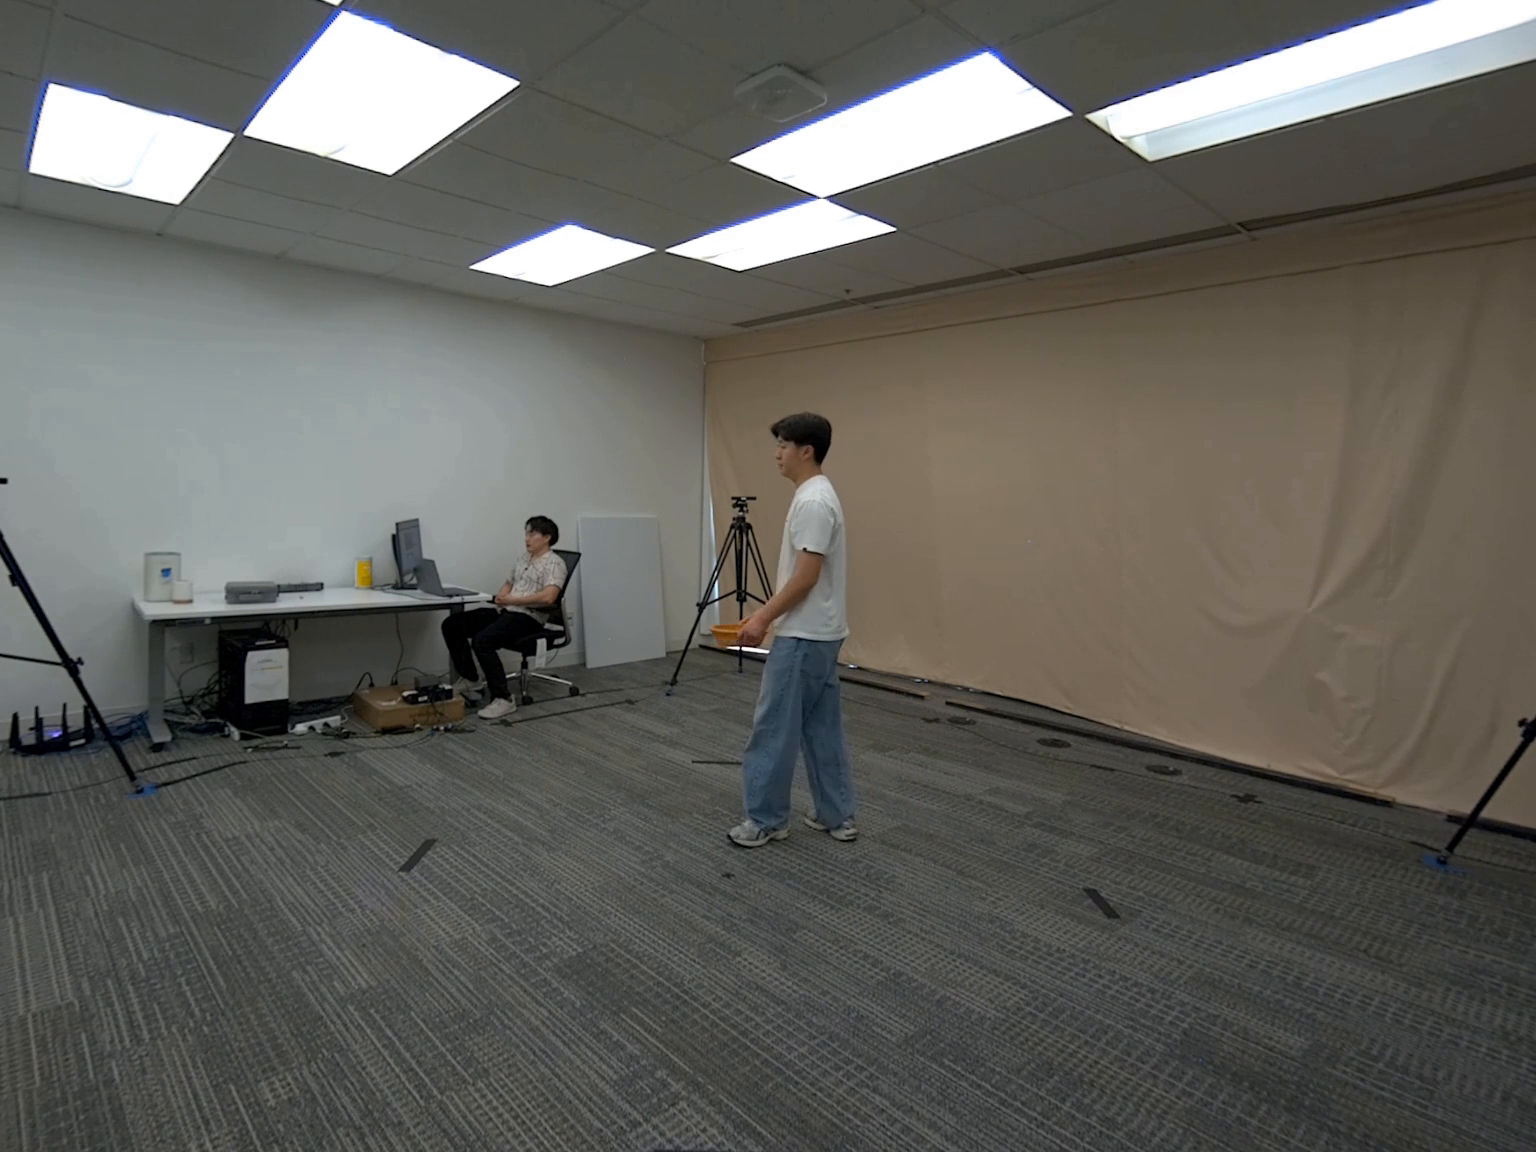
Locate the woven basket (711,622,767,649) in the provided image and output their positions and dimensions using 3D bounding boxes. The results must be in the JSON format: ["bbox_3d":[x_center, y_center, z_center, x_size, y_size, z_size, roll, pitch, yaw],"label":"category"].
[{"bbox_3d":[-0.106,0.249,3.512,0.256,0.073,0.346,1,2,15],"label":"woven basket"}]
